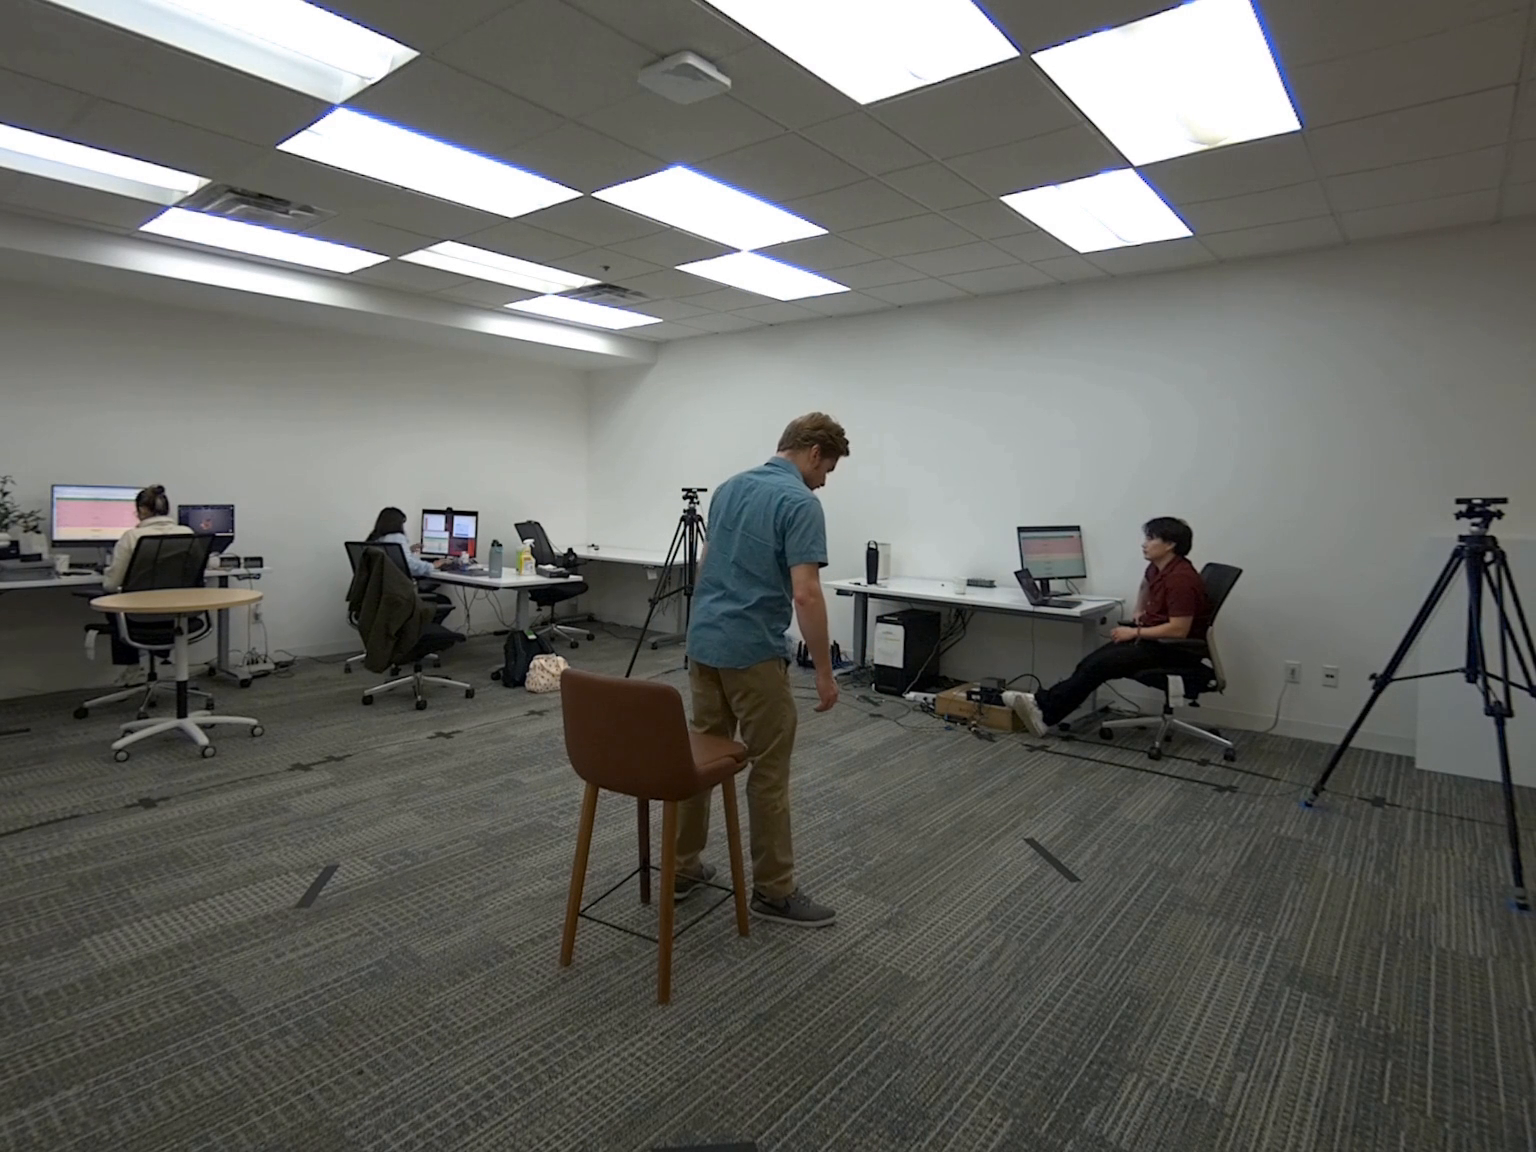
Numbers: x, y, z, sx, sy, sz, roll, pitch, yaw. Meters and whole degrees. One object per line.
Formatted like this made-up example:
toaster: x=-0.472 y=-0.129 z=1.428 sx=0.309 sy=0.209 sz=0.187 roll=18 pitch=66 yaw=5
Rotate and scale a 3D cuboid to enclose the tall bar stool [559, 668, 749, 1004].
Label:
tall bar stool: x=-0.344 y=0.684 z=2.546 sx=0.470 sy=0.886 sz=0.456 roll=2 pitch=6 yaw=30
